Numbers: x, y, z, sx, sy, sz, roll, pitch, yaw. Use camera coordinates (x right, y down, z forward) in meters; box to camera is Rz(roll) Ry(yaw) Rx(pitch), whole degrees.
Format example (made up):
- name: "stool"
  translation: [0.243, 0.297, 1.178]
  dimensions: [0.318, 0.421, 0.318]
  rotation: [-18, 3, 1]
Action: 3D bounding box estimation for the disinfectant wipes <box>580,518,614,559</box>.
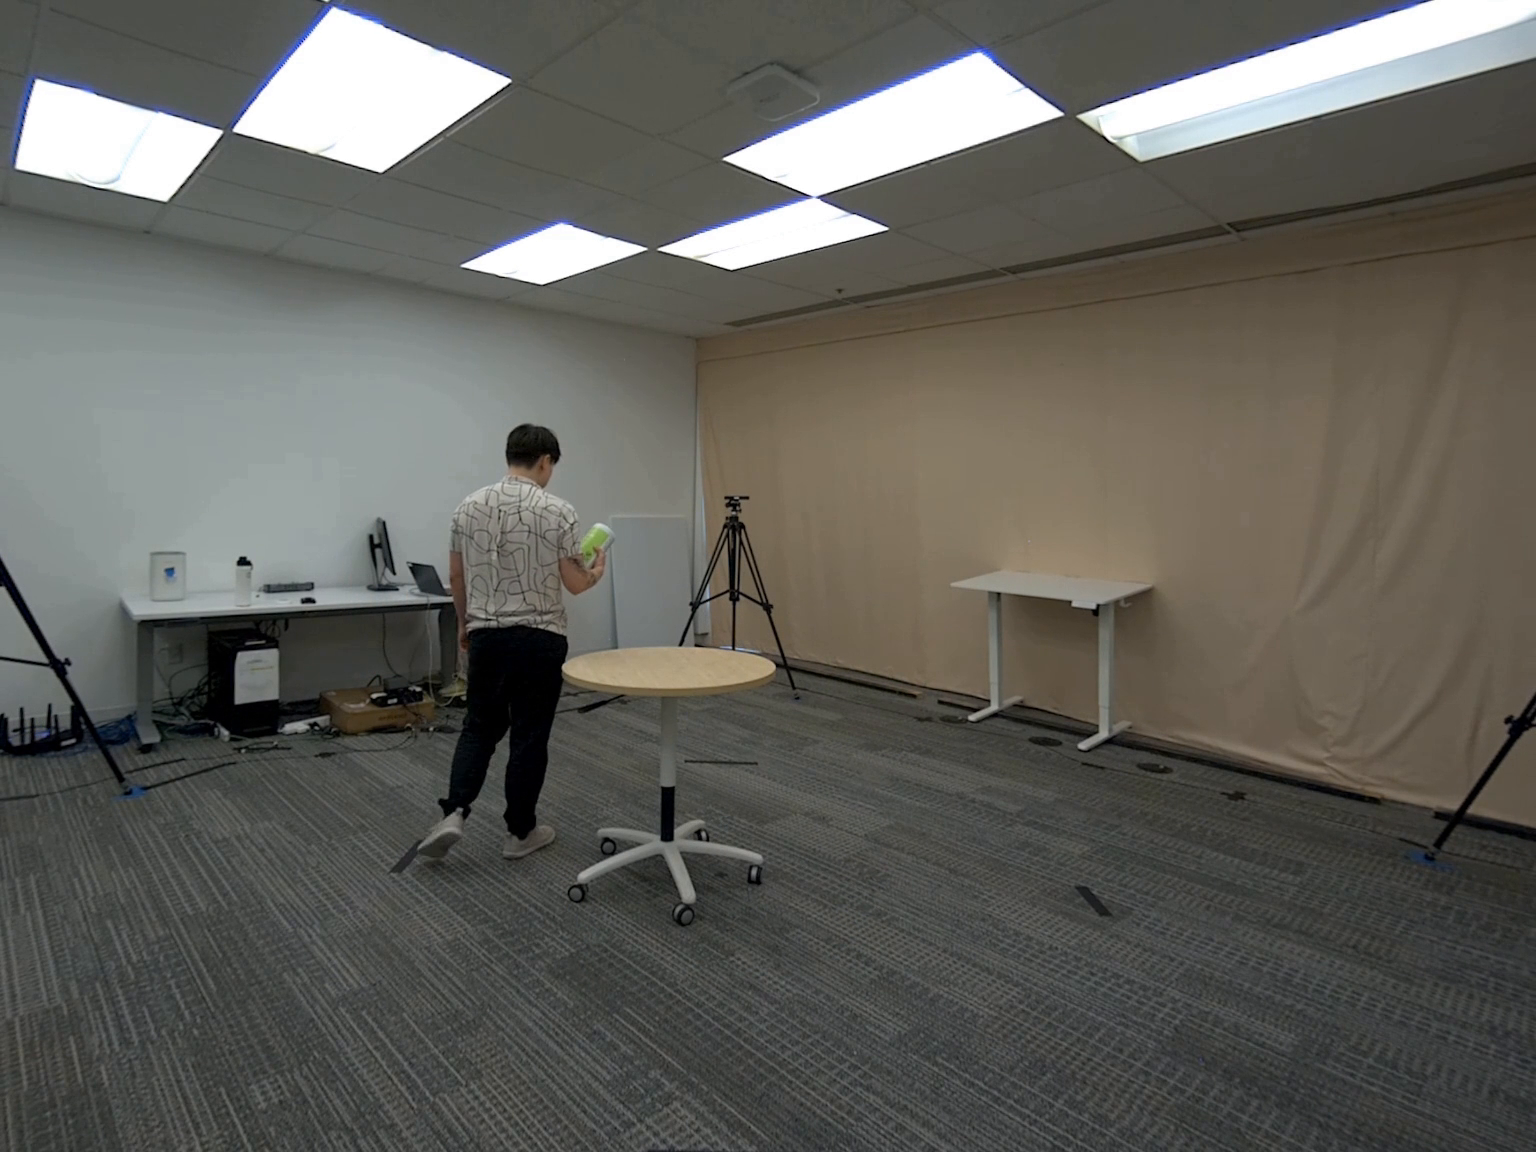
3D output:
- name: "disinfectant wipes"
  translation: [-0.744, -0.105, 3.461]
  dimensions: [0.119, 0.219, 0.115]
  rotation: [20, -32, 12]
